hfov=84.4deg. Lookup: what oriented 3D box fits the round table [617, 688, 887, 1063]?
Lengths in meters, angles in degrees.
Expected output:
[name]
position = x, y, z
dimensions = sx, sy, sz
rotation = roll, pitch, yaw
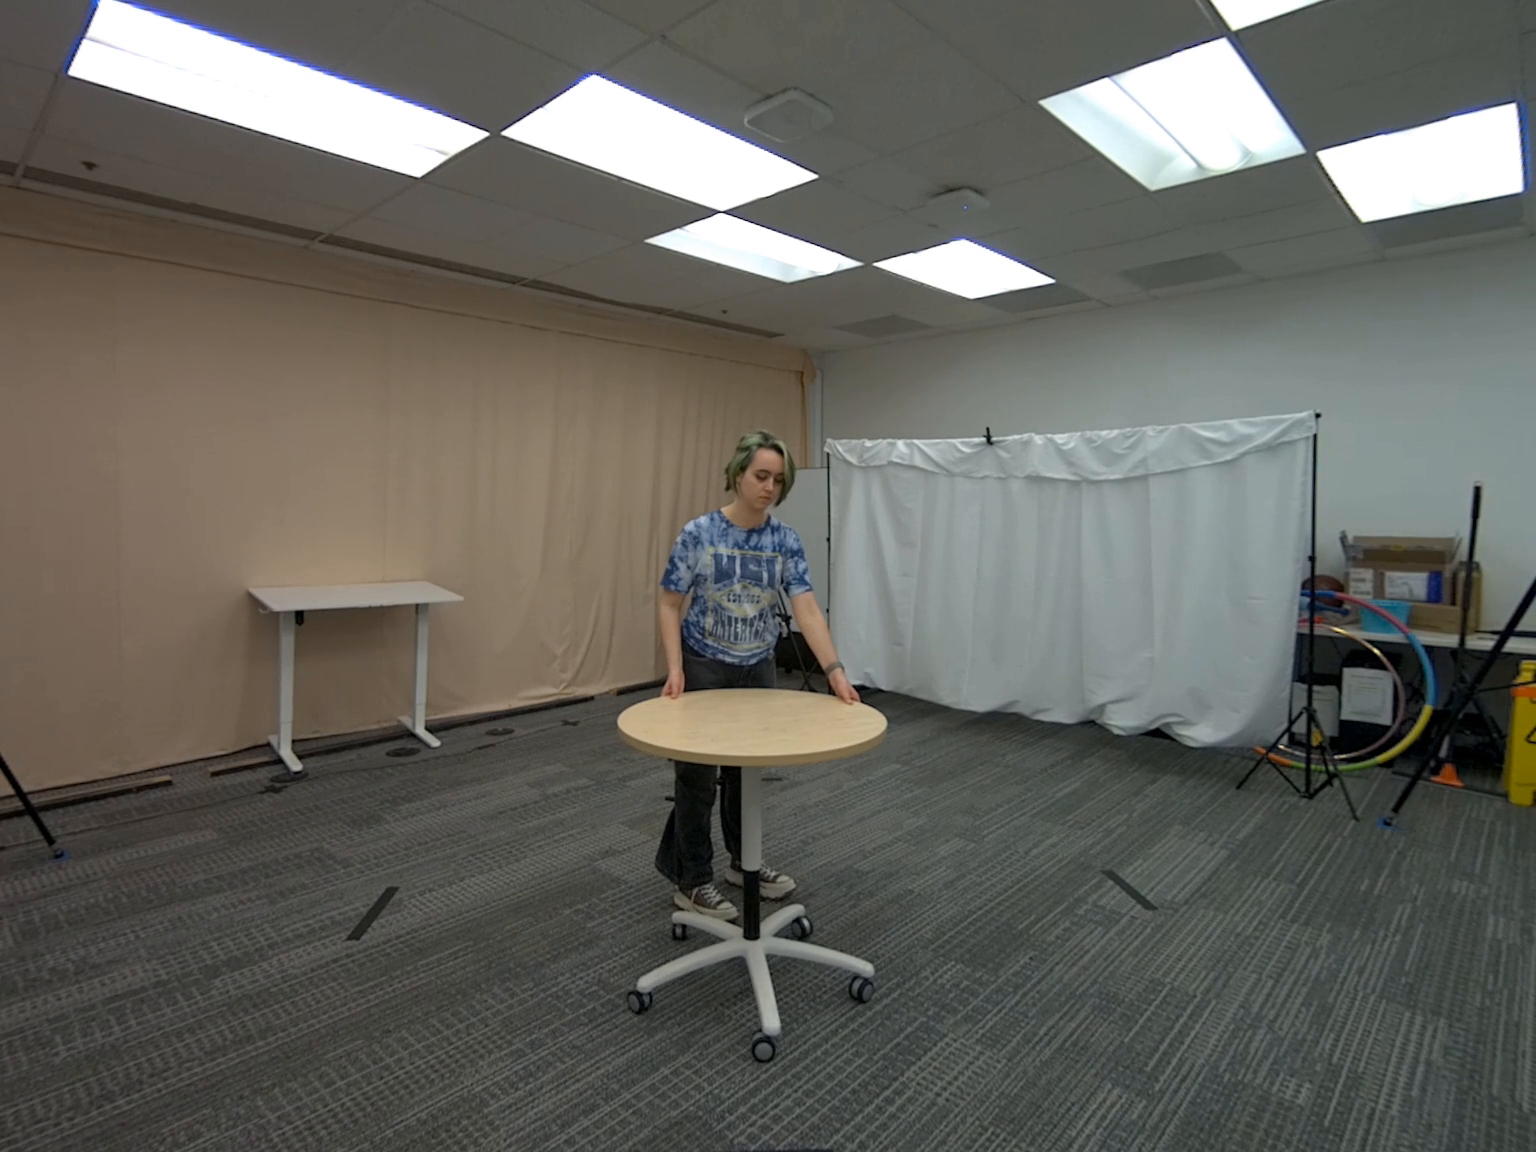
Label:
[round table]
position = -0.038, 0.799, 2.439
dimensions = 0.763, 0.792, 0.767
rotation = 0, 4, -2
